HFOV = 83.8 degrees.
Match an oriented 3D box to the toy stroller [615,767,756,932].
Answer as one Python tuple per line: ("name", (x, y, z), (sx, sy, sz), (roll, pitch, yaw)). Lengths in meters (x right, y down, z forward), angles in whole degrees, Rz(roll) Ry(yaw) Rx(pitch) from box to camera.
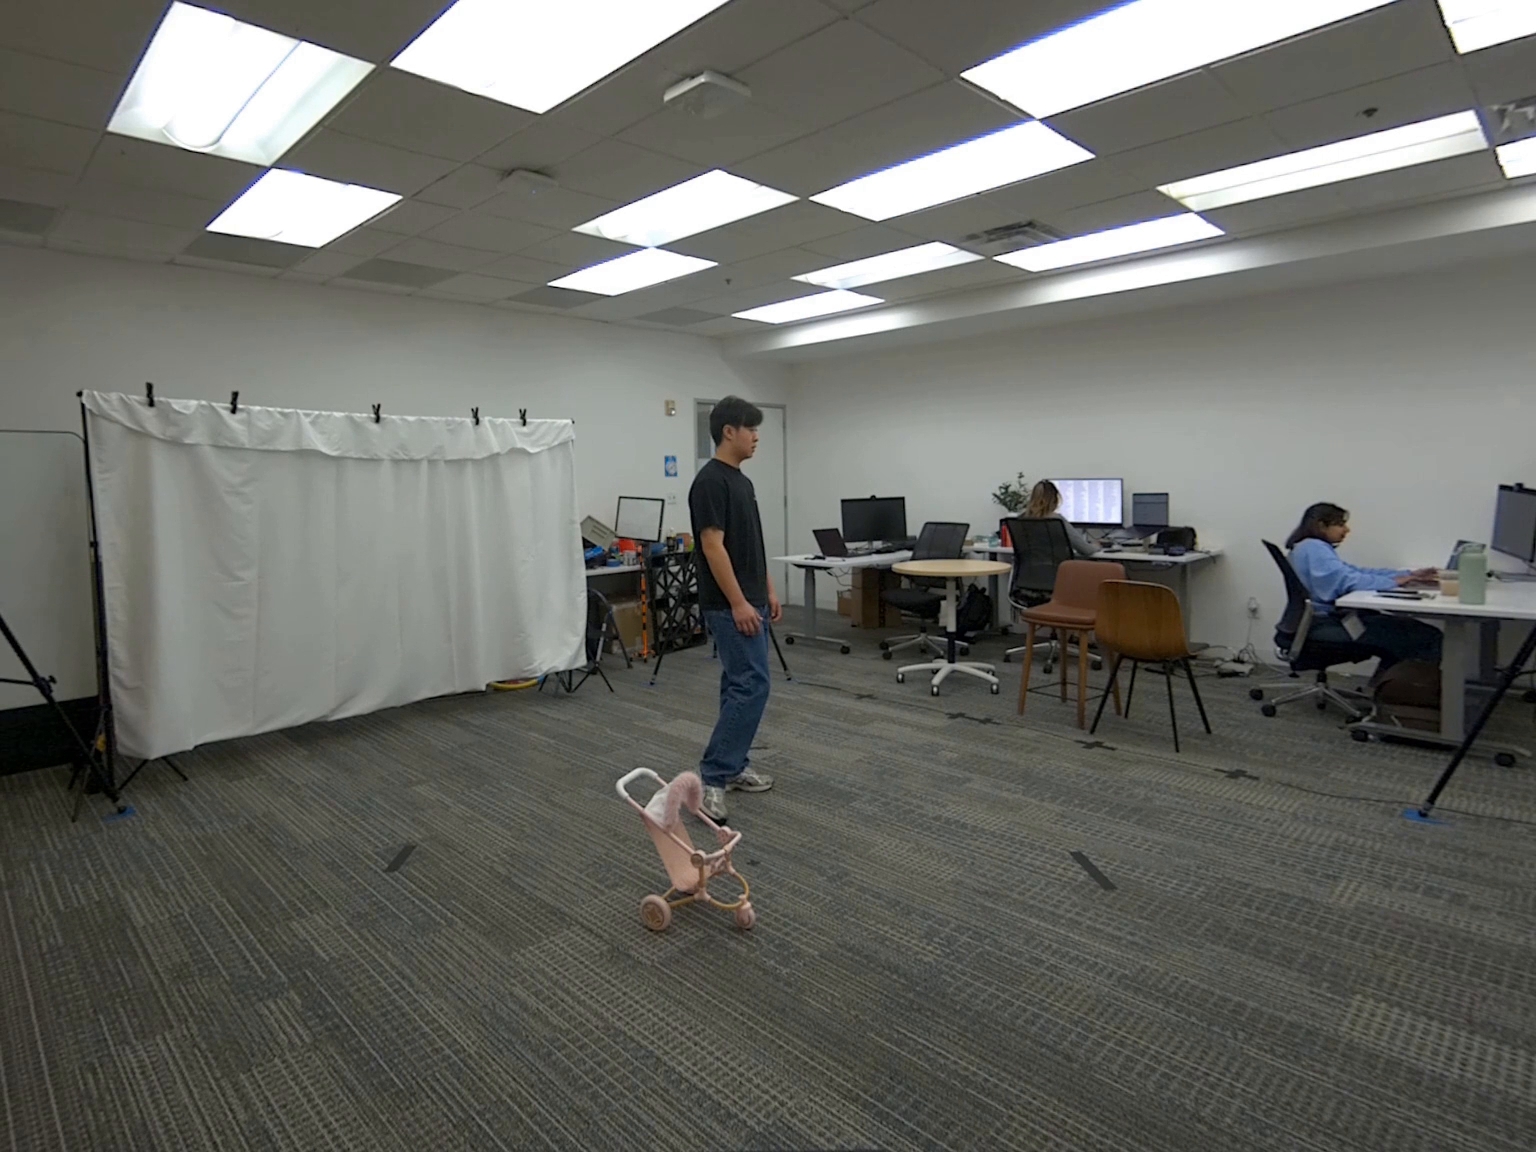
("toy stroller", (-0.245, 0.868, 2.722), (0.347, 0.537, 0.276), (-18, -4, 29))
